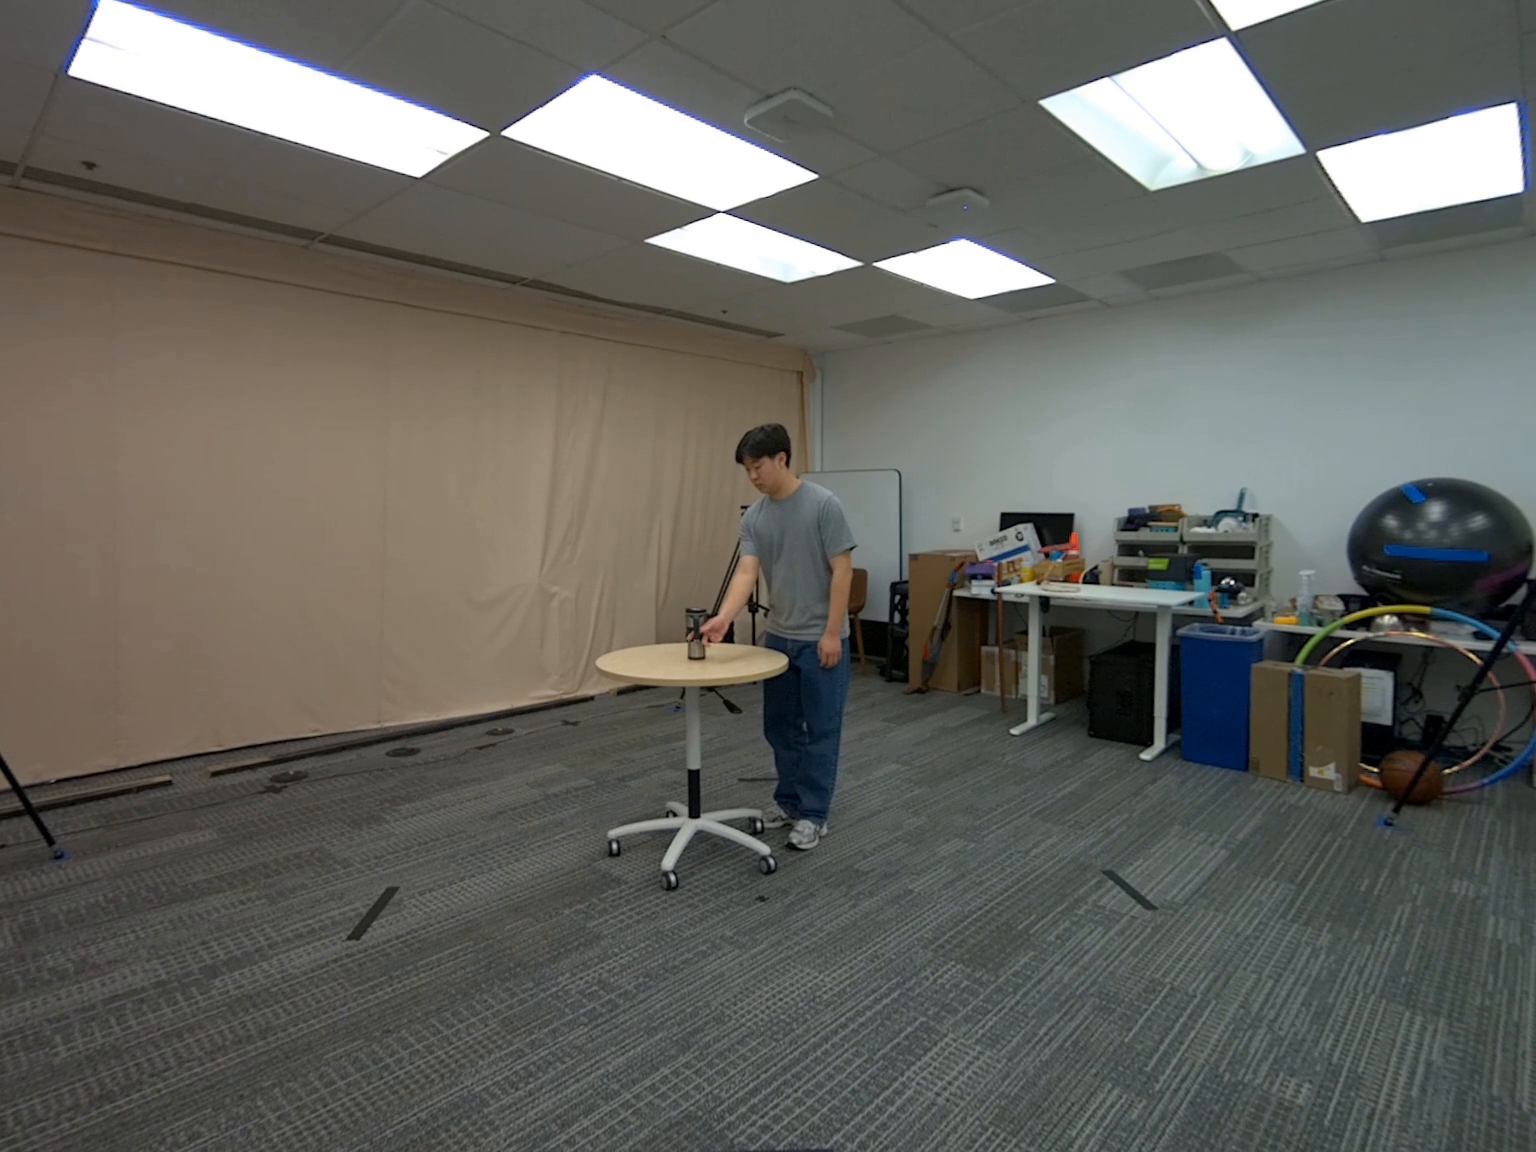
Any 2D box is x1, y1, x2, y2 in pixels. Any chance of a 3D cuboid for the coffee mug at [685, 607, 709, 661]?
[{"bbox_3d":[-0.297,0.234,3.335,0.090,0.203,0.119,4,1,18],"label":"coffee mug"}]
